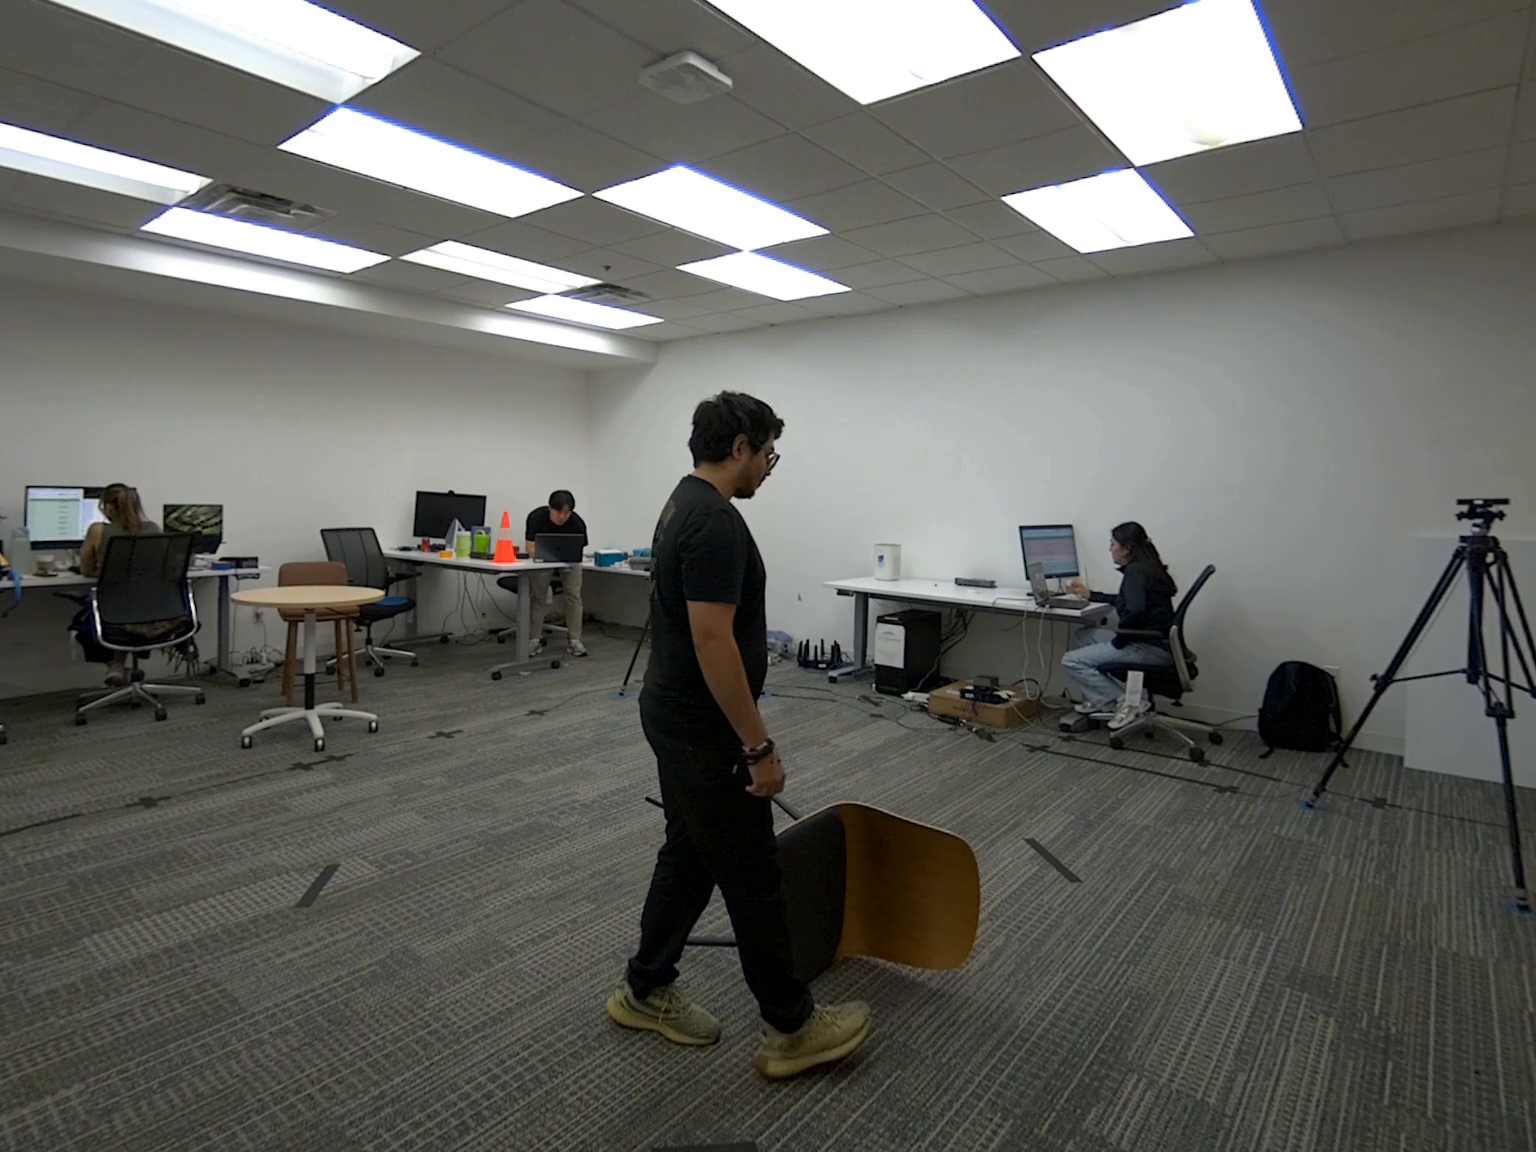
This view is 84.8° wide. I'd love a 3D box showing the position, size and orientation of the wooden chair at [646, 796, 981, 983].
[{"bbox_3d":[0.098,0.907,2.465,0.905,0.477,0.508,5,5,34],"label":"wooden chair"}]
